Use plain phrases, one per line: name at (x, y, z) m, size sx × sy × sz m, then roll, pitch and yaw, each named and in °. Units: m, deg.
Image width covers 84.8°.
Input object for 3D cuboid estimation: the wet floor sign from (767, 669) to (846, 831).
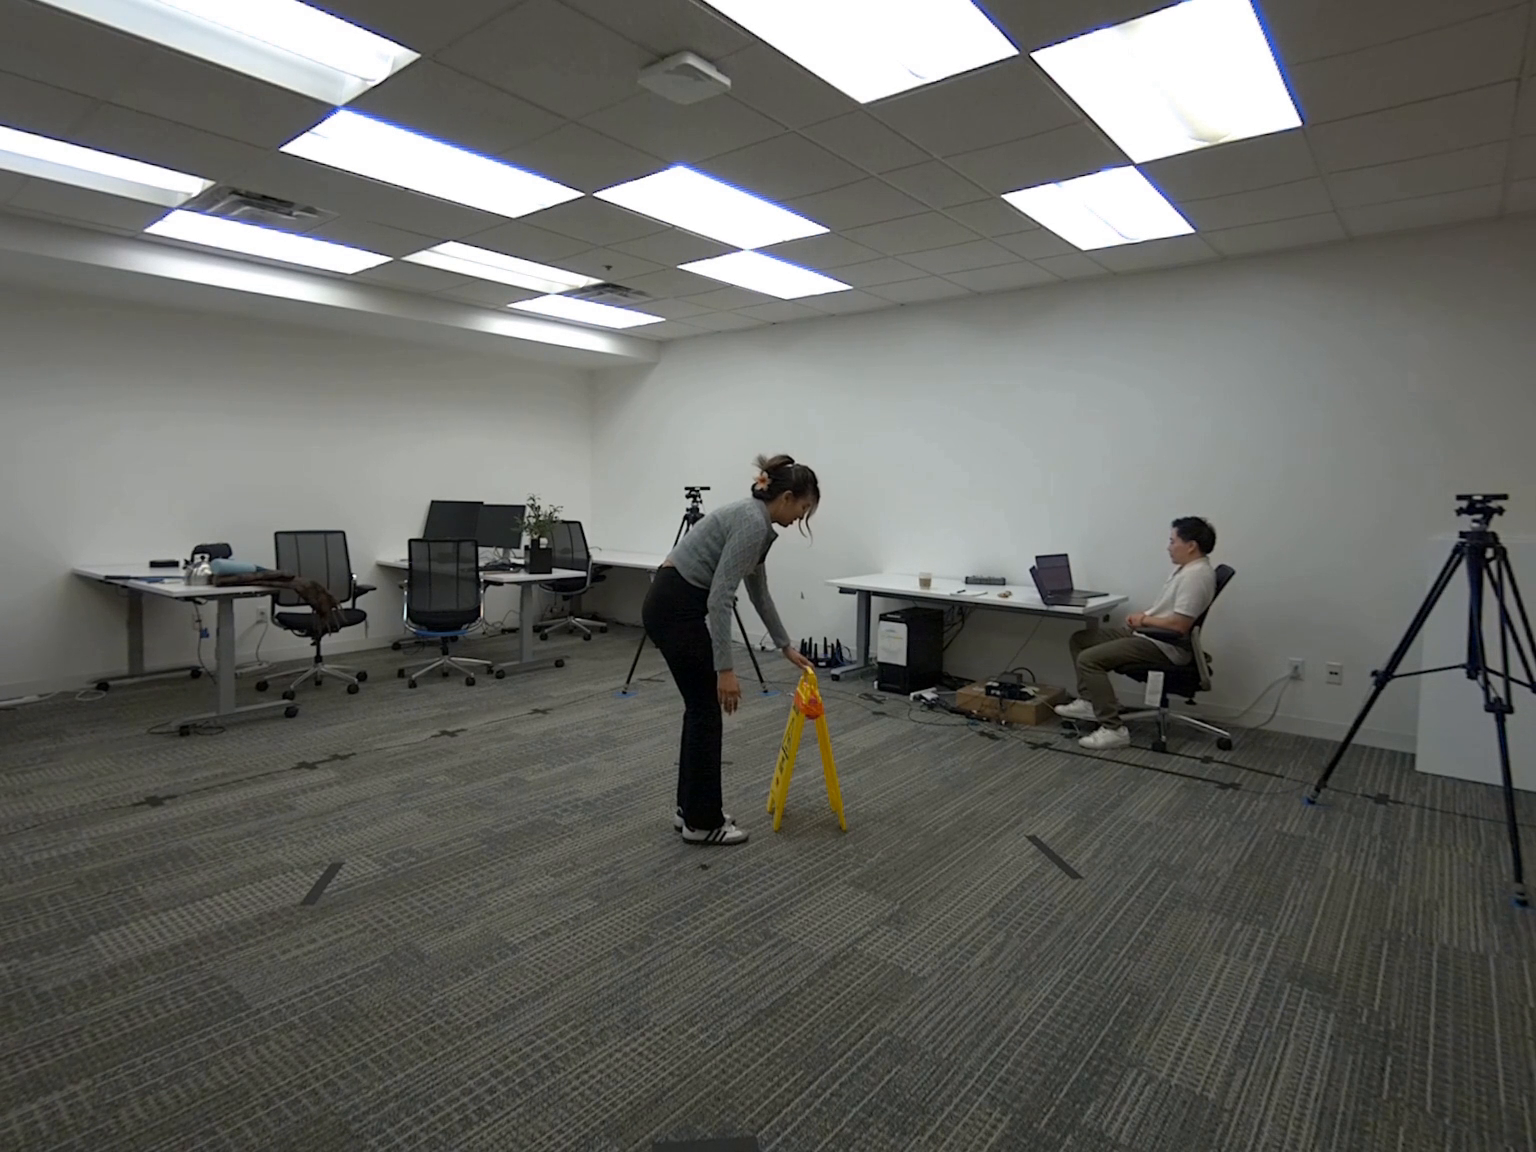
wet floor sign at (0.156, 0.701, 3.570) m, size 0.288 × 0.643 × 0.285 m, roll 0°, pitch 5°, yaw -7°
